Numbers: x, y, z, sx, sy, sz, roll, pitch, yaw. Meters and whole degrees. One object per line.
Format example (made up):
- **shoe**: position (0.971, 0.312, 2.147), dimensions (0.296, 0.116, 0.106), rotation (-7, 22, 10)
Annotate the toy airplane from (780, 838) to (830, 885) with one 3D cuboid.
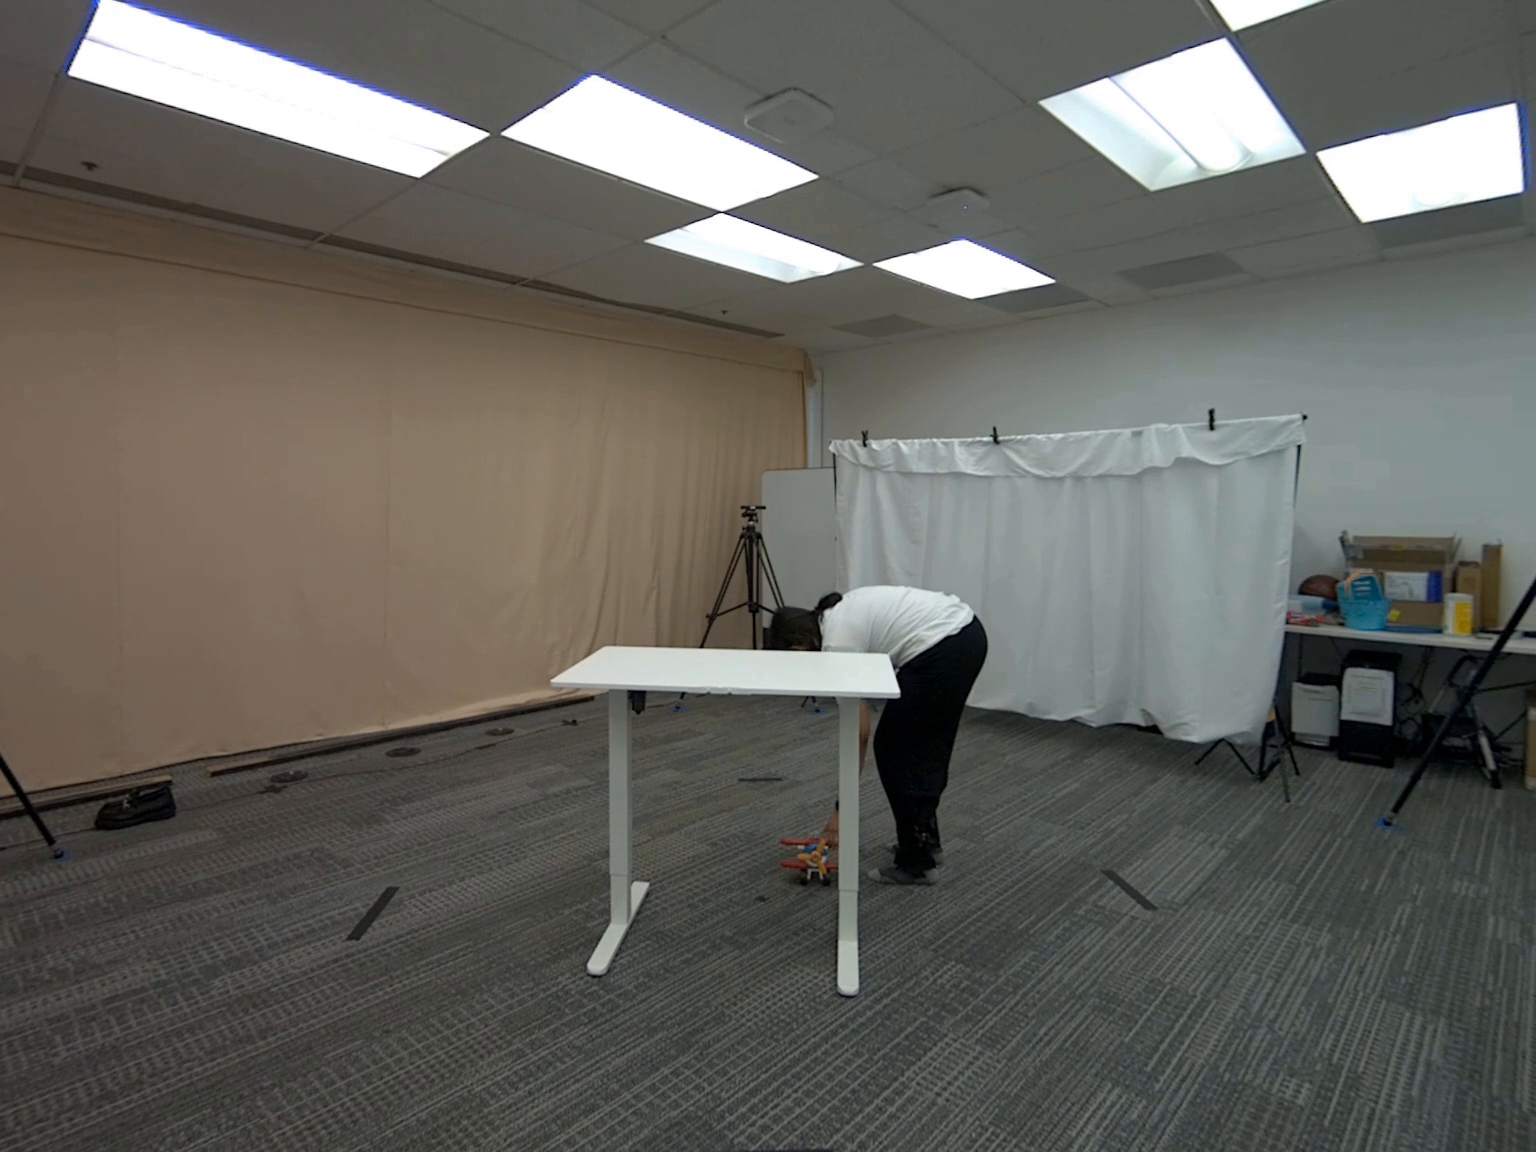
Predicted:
- **toy airplane**: position (0.157, 1.065, 3.175), dimensions (0.244, 0.156, 0.266), rotation (0, 3, -29)
